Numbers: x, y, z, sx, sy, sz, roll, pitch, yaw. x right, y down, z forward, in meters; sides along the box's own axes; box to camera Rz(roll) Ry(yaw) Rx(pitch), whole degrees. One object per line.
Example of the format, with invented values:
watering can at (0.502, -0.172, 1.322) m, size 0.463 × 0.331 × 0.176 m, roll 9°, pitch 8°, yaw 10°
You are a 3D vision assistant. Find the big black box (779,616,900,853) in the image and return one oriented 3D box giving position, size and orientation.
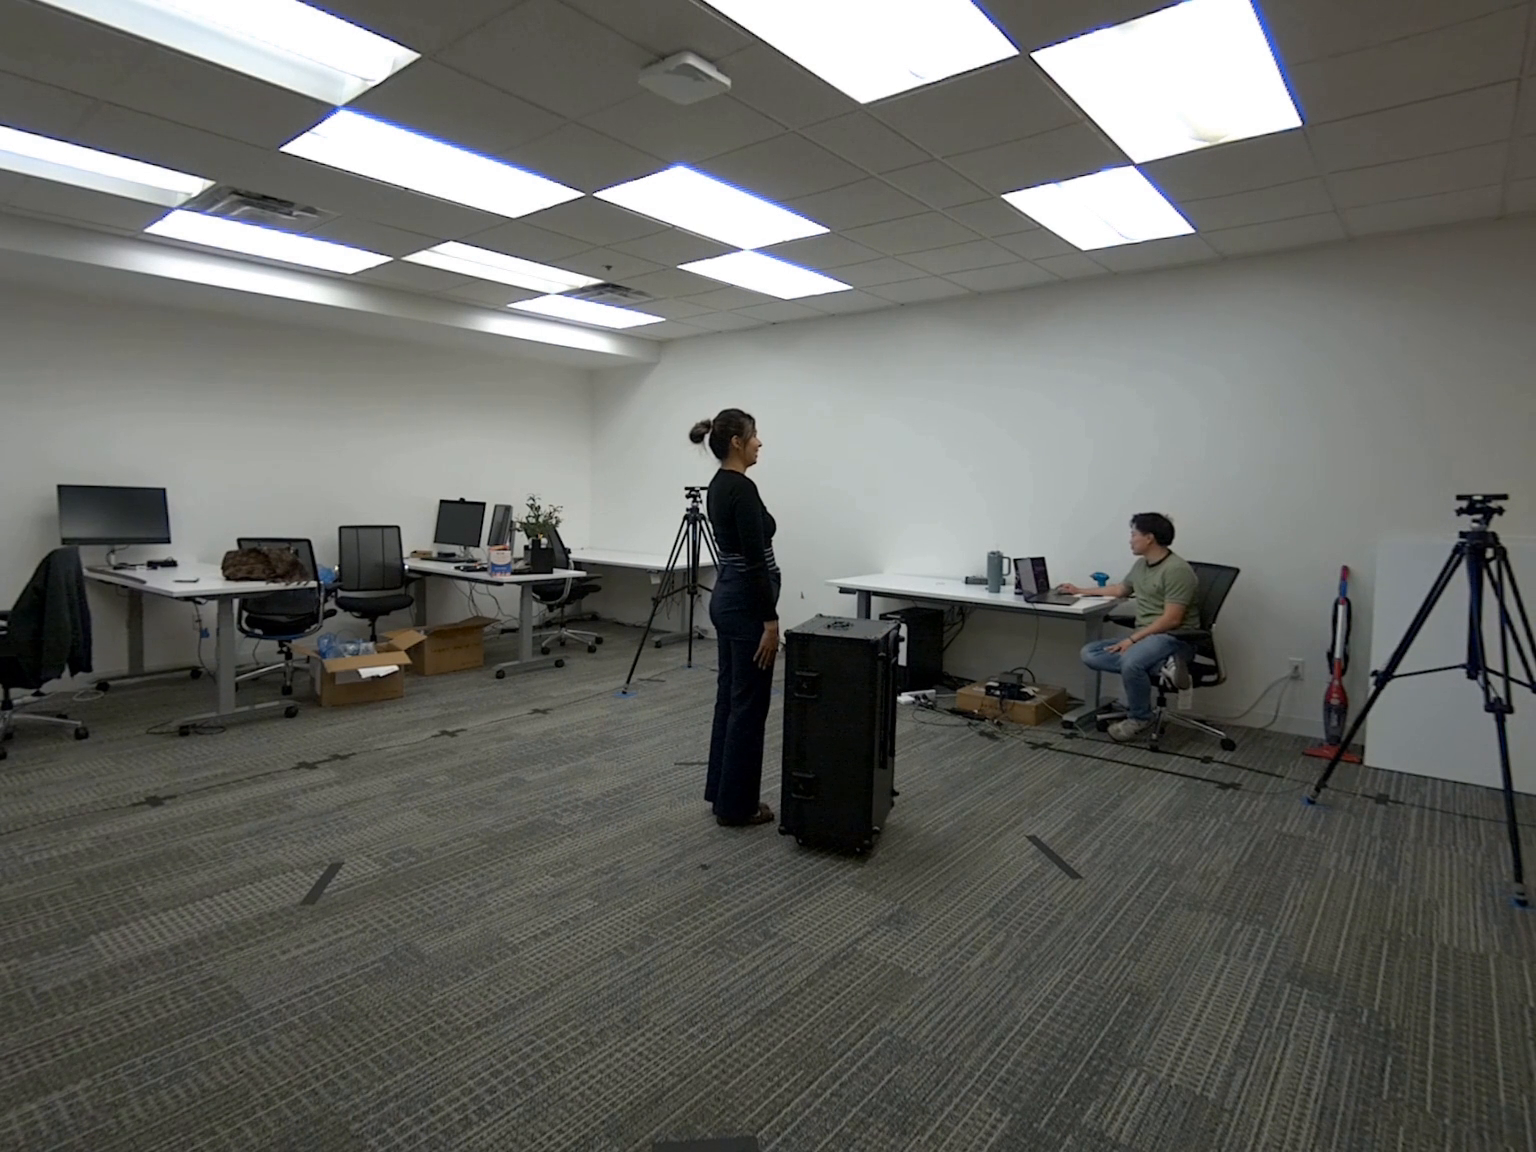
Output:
big black box at (0.309, 0.622, 3.391) m, size 0.405 × 0.859 × 0.511 m, roll 3°, pitch 4°, yaw 20°
